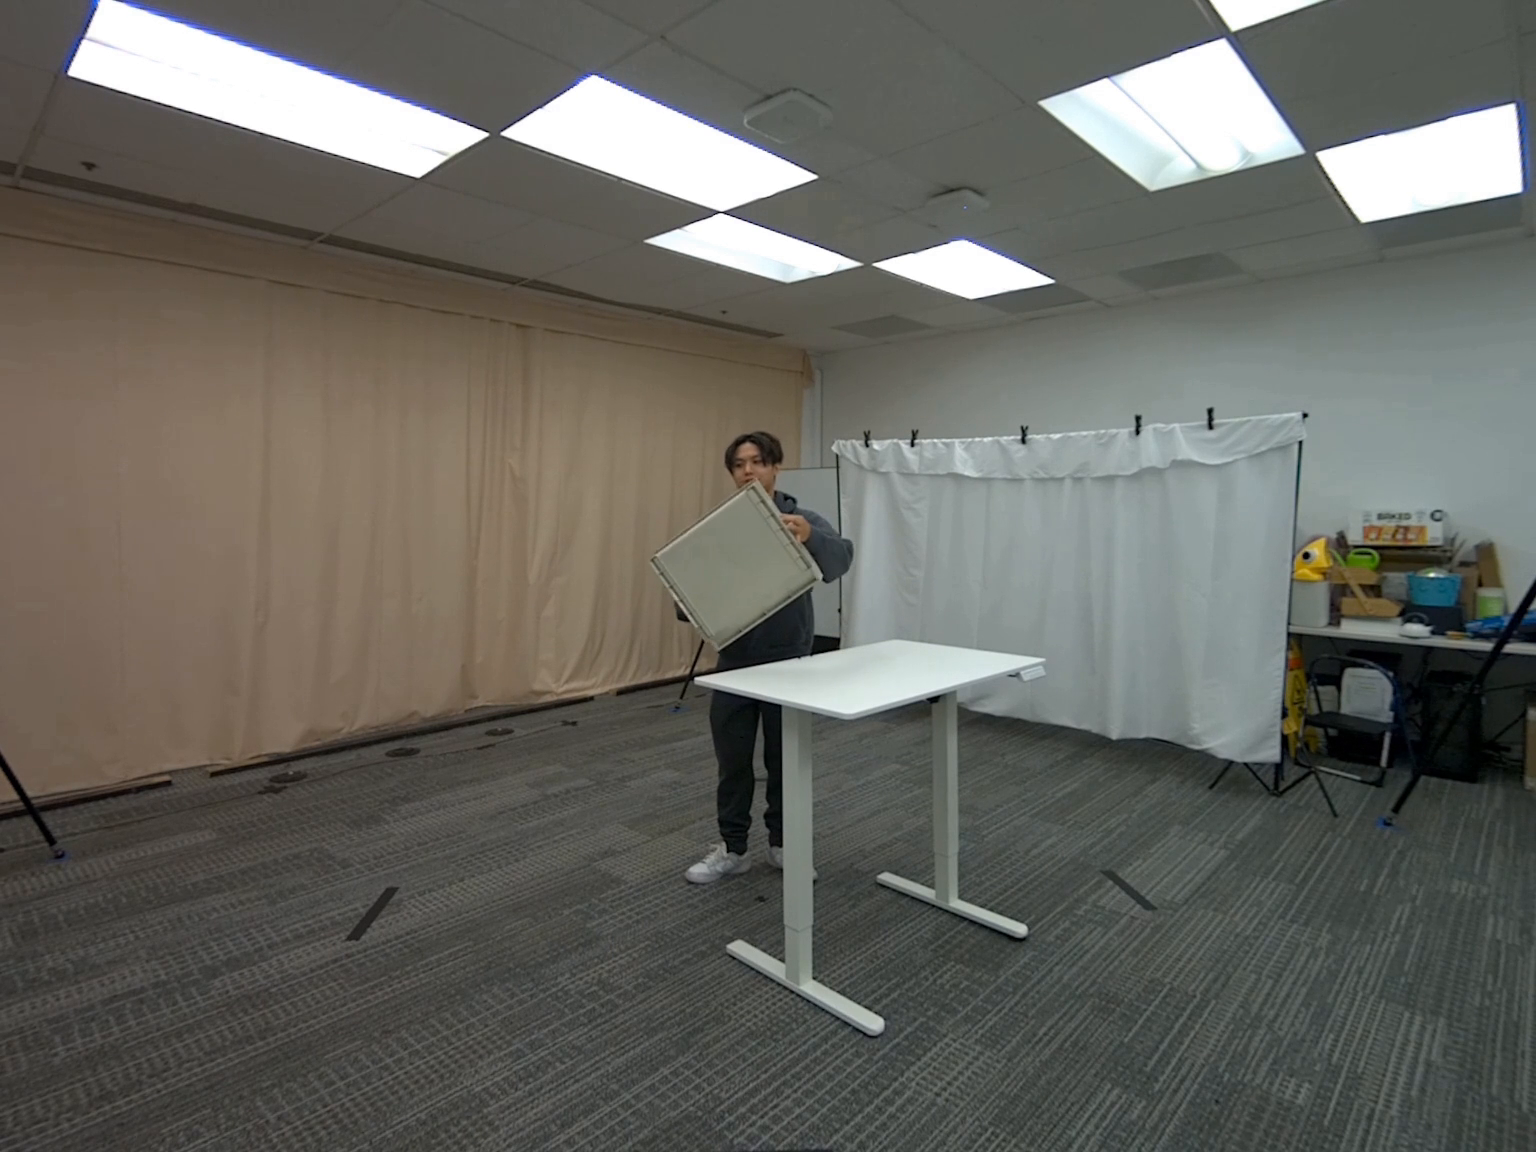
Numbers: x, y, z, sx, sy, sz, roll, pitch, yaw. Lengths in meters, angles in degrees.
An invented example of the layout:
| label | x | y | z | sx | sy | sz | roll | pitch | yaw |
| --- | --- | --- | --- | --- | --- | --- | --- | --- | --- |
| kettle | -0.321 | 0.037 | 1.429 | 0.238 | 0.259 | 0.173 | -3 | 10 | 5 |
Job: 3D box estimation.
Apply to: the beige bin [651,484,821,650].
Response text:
| label | x | y | z | sx | sy | sz | roll | pitch | yaw |
| --- | --- | --- | --- | --- | --- | --- | --- | --- | --- |
| beige bin | -0.104 | -0.032 | 2.702 | 0.424 | 0.376 | 0.188 | -35 | 3 | 10 |
